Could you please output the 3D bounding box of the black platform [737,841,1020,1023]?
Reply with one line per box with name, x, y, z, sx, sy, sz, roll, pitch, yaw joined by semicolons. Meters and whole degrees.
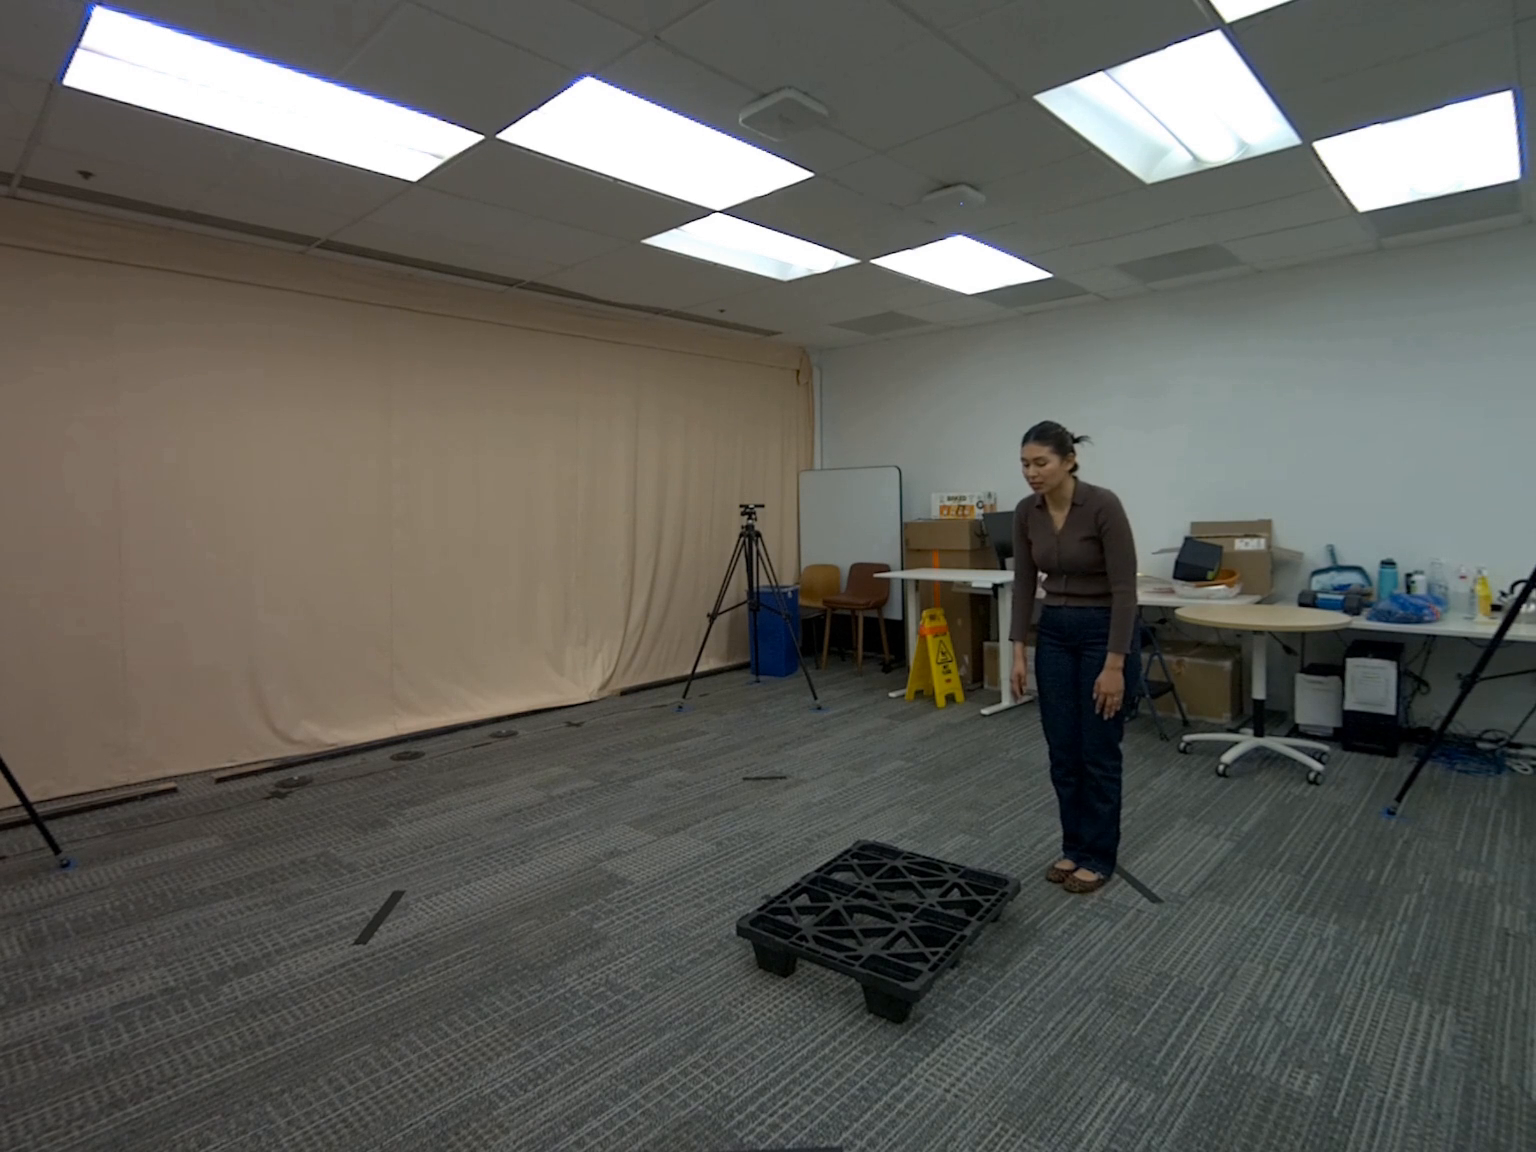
black platform;0.379;1.093;2.666;0.625;0.143;0.782;4;7;36
